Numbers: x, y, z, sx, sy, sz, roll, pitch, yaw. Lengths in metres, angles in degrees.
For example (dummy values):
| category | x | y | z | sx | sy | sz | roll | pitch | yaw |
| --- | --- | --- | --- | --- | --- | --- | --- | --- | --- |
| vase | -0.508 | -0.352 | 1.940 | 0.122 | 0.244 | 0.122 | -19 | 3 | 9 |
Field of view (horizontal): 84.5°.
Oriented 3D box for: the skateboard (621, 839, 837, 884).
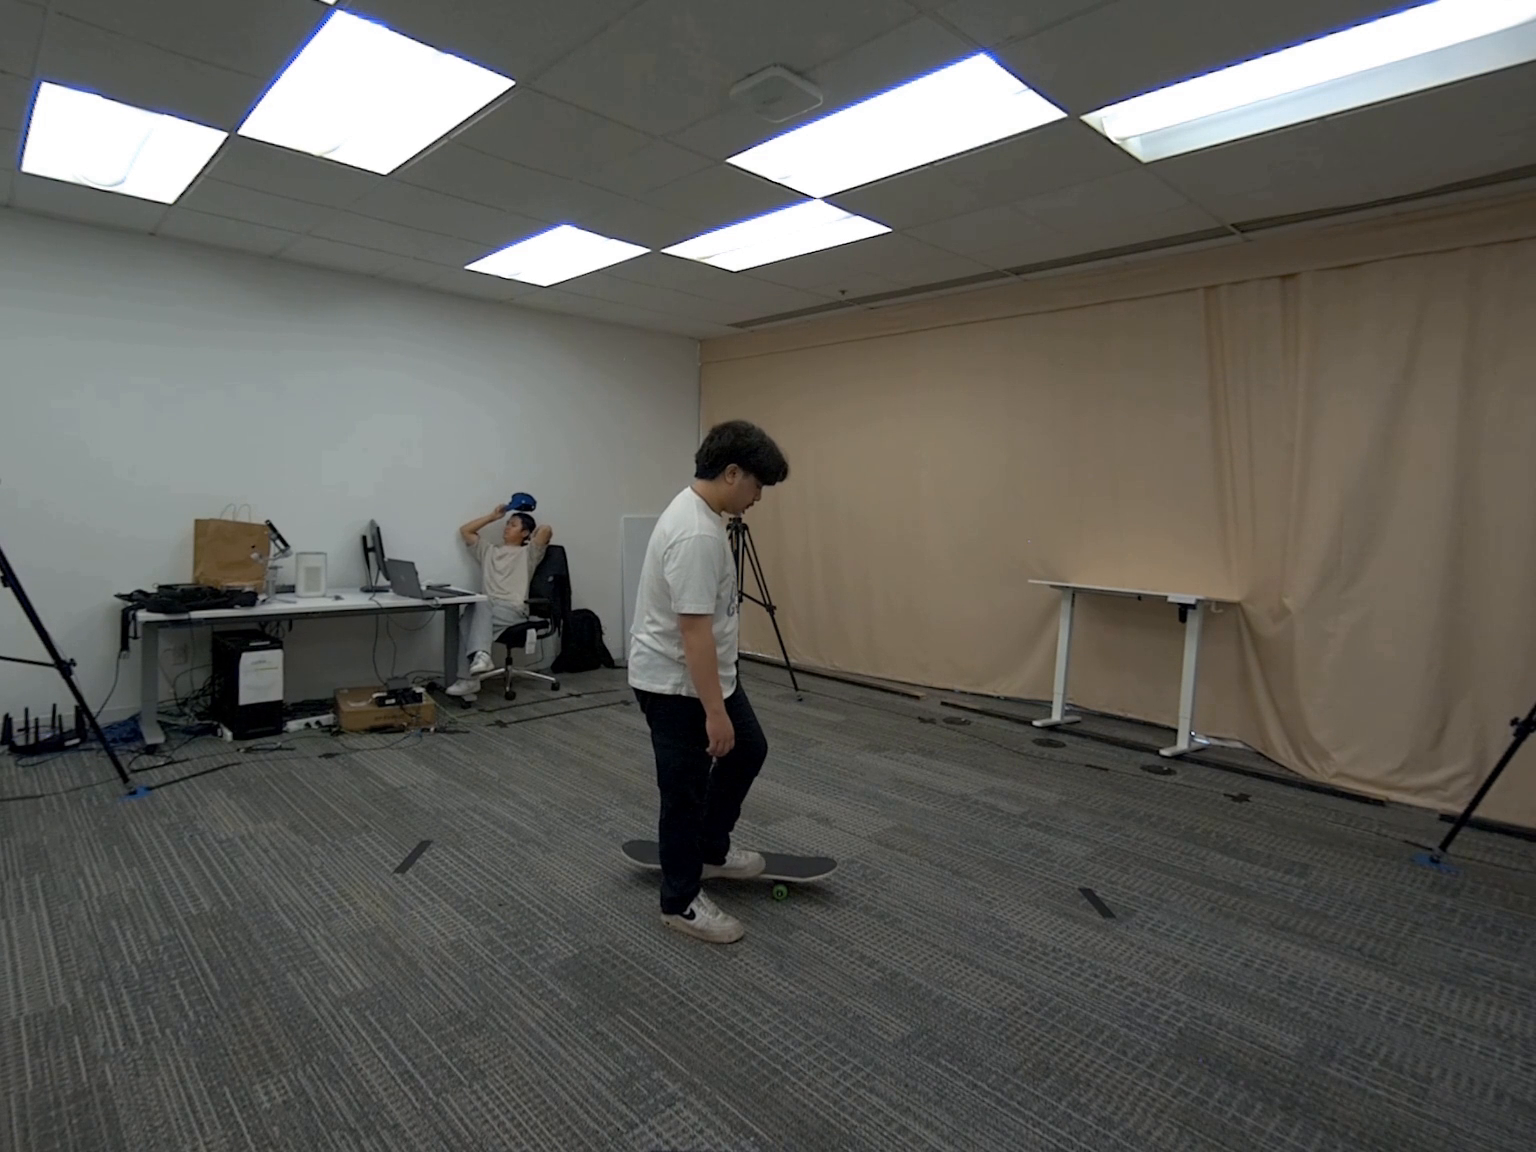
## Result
| category | x | y | z | sx | sy | sz | roll | pitch | yaw |
| --- | --- | --- | --- | --- | --- | --- | --- | --- | --- |
| skateboard | -0.151 | 1.054 | 3.036 | 0.792 | 0.110 | 0.192 | 2 | 5 | 10 |
